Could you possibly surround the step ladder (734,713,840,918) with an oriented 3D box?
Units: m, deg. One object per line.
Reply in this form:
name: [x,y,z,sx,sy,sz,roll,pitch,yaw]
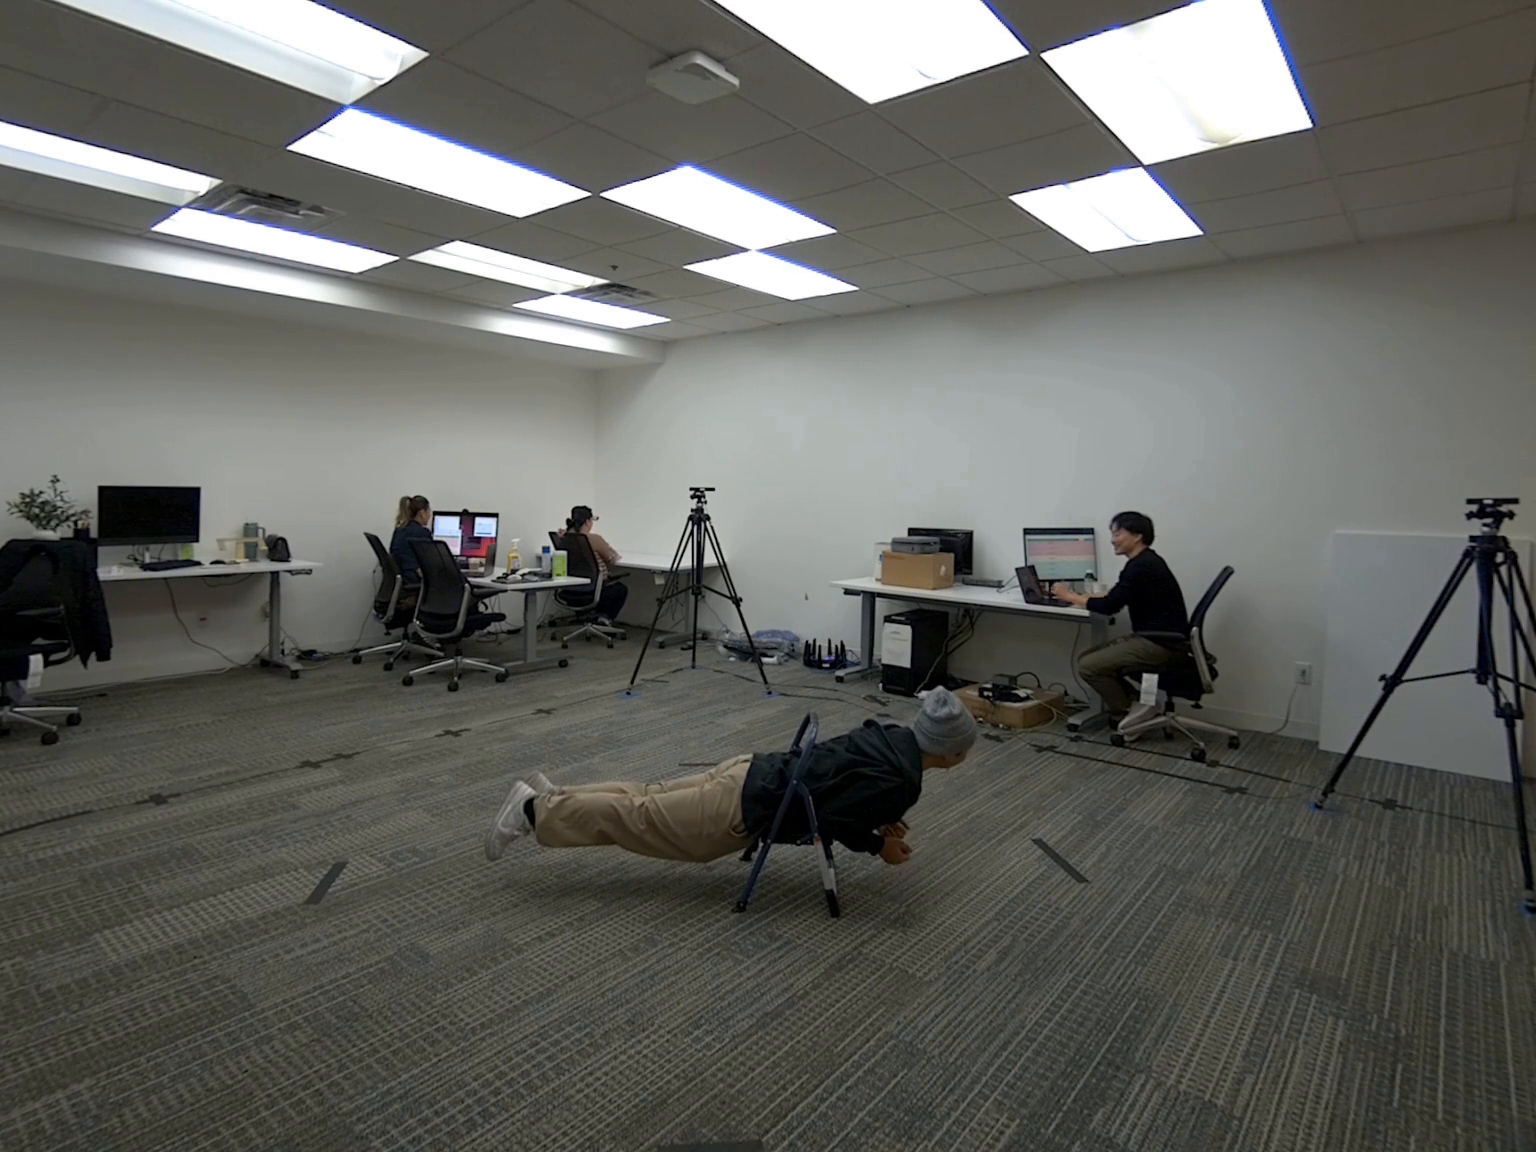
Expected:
step ladder: [0.068,0.795,2.972,0.350,0.604,0.430,2,3,2]
